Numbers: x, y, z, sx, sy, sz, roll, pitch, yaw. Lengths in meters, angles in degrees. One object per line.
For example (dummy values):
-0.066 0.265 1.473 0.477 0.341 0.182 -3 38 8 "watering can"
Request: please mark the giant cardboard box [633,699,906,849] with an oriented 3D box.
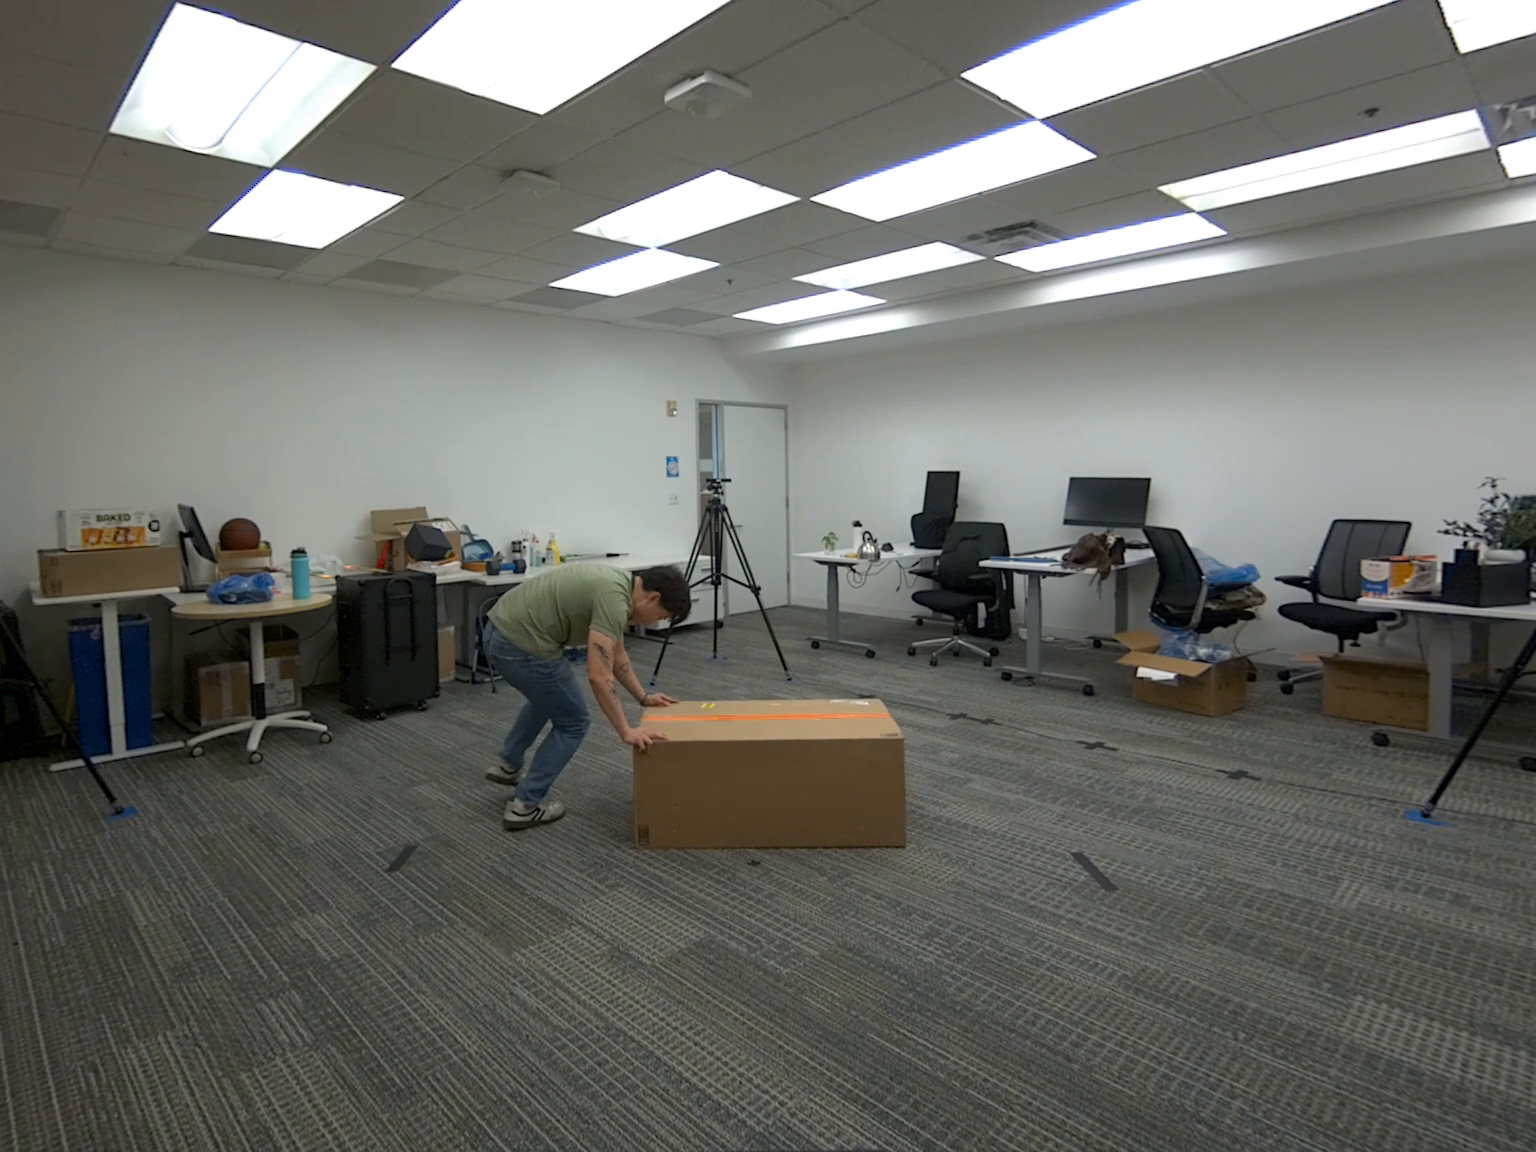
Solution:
-0.004 0.785 3.489 1.027 0.425 0.578 -1 4 1 "giant cardboard box"
